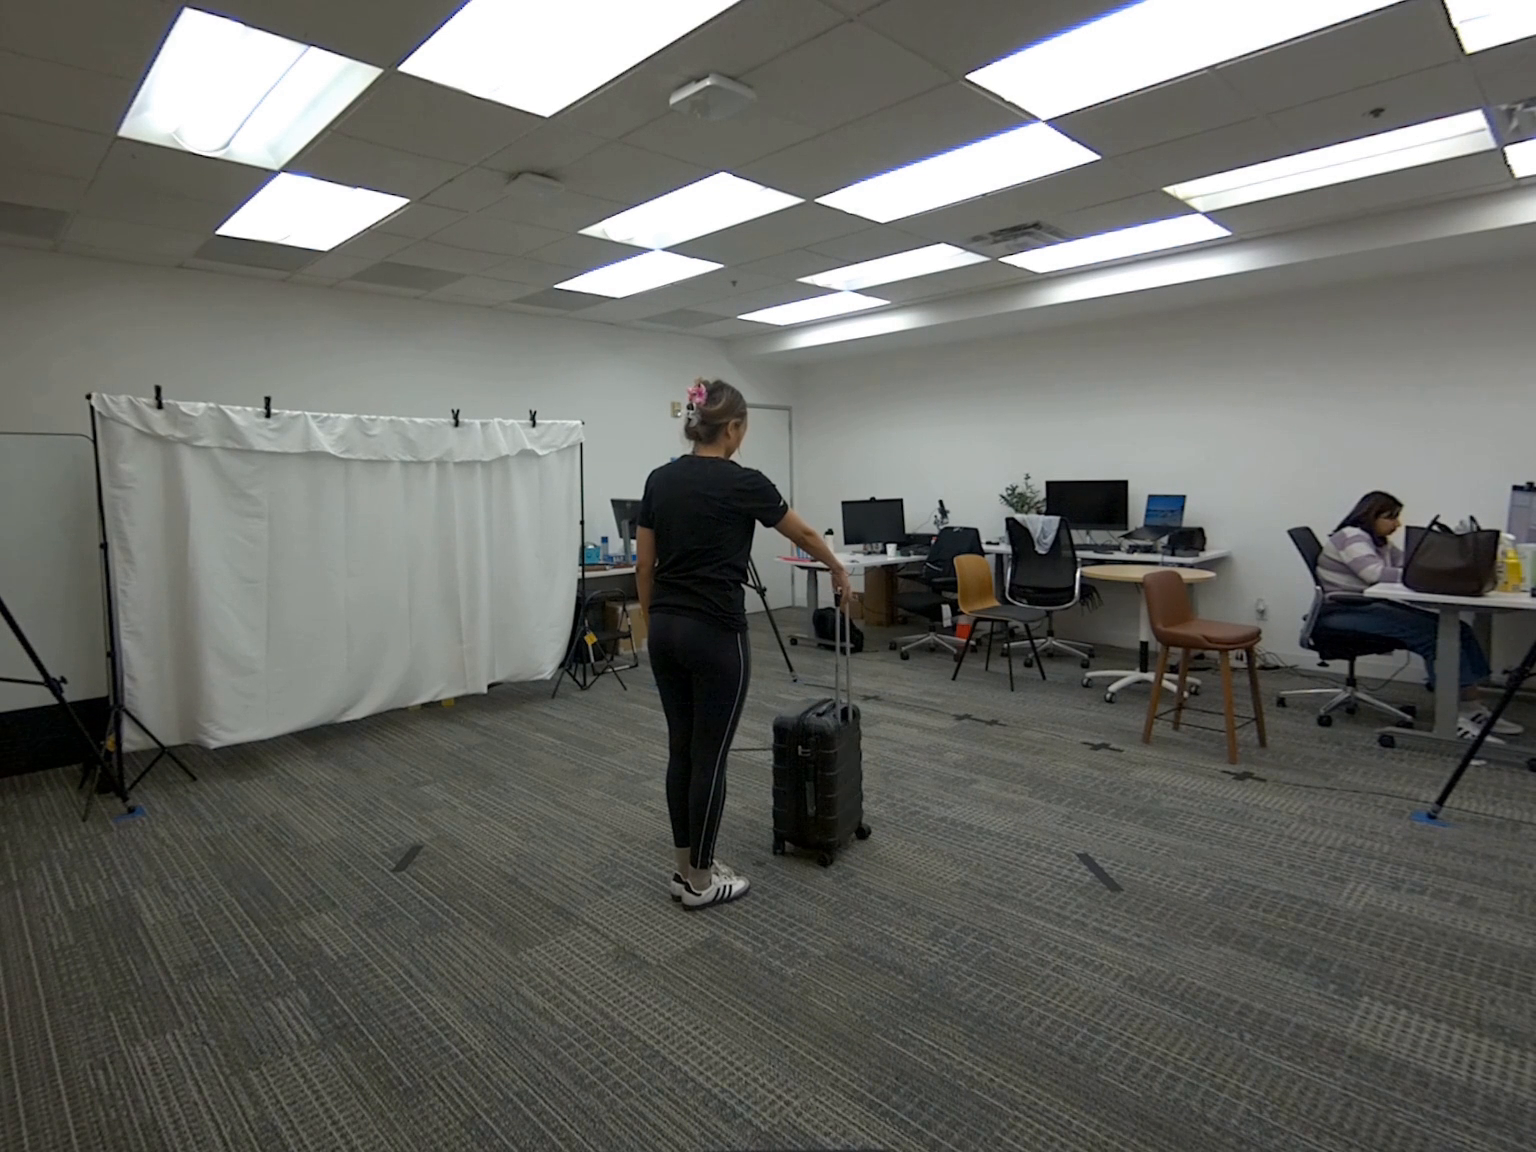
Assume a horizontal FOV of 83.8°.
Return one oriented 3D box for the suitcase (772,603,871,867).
[{"bbox_3d":[0.185,0.557,3.224,0.263,0.975,0.376,-1,4,28],"label":"suitcase"}]
